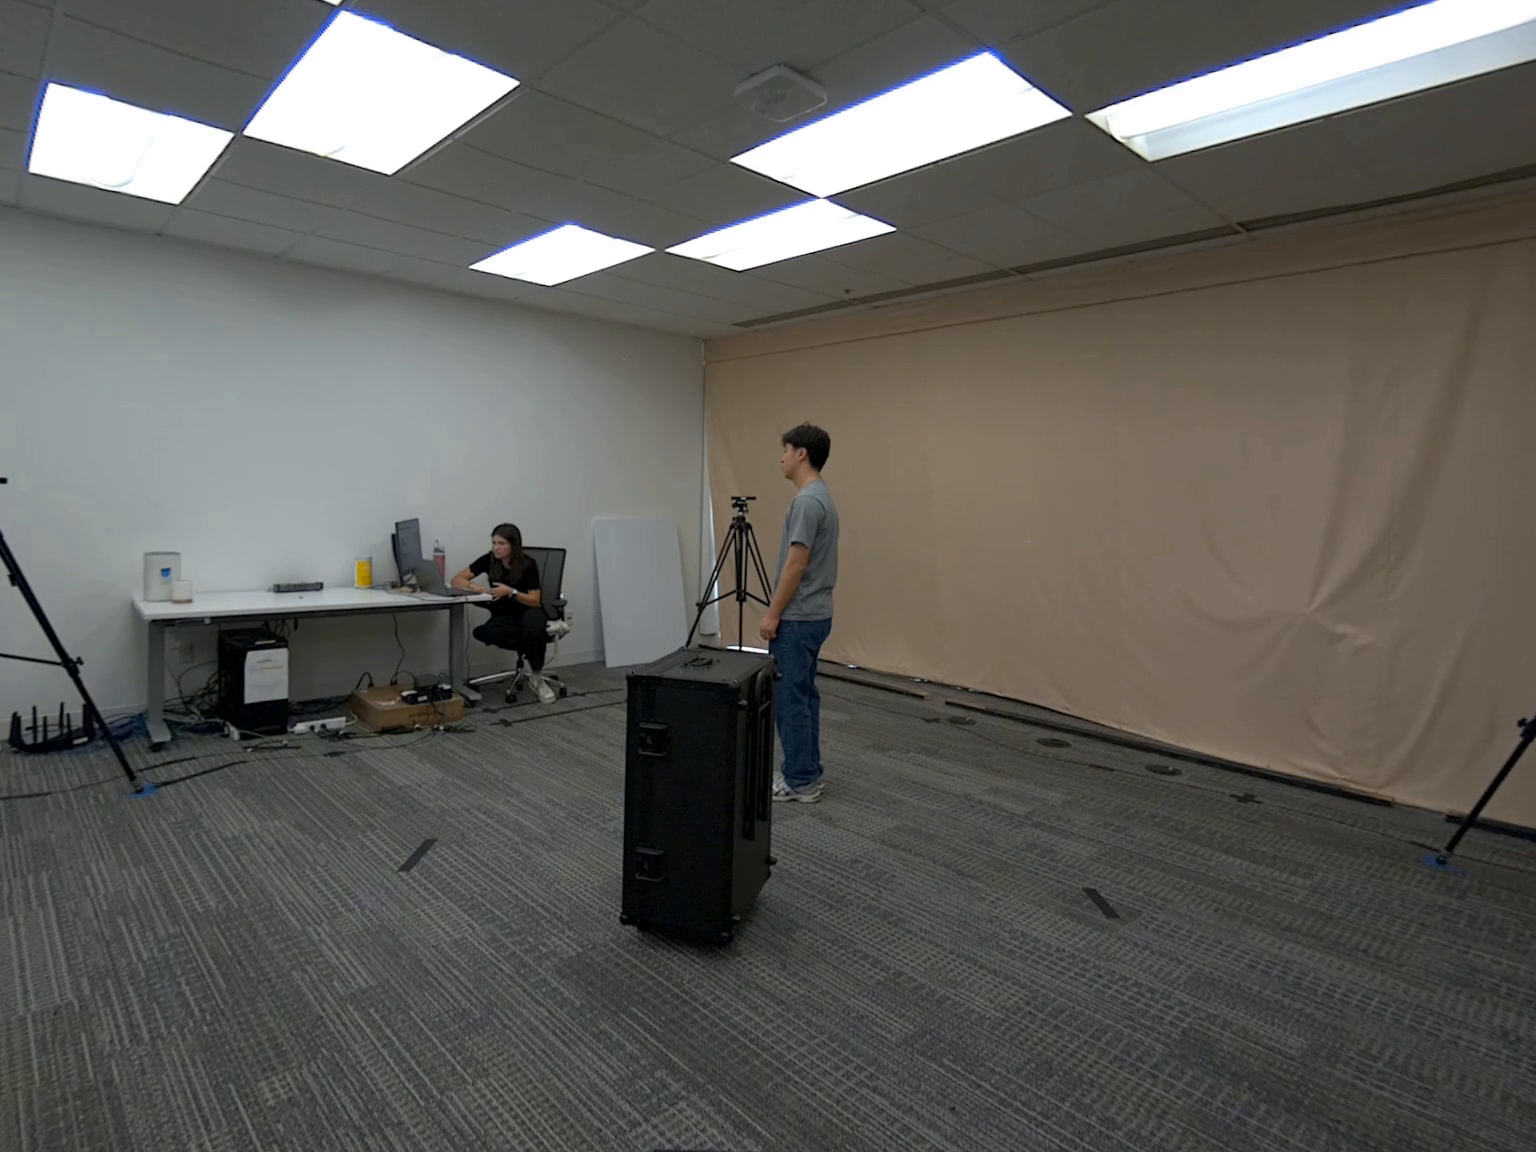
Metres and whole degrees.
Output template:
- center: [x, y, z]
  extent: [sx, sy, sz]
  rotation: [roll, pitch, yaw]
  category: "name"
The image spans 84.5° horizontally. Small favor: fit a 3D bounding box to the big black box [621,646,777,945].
- center: [-0.208, 0.710, 2.752]
  extent: [0.402, 0.859, 0.515]
  rotation: [3, 3, 16]
  category: "big black box"
